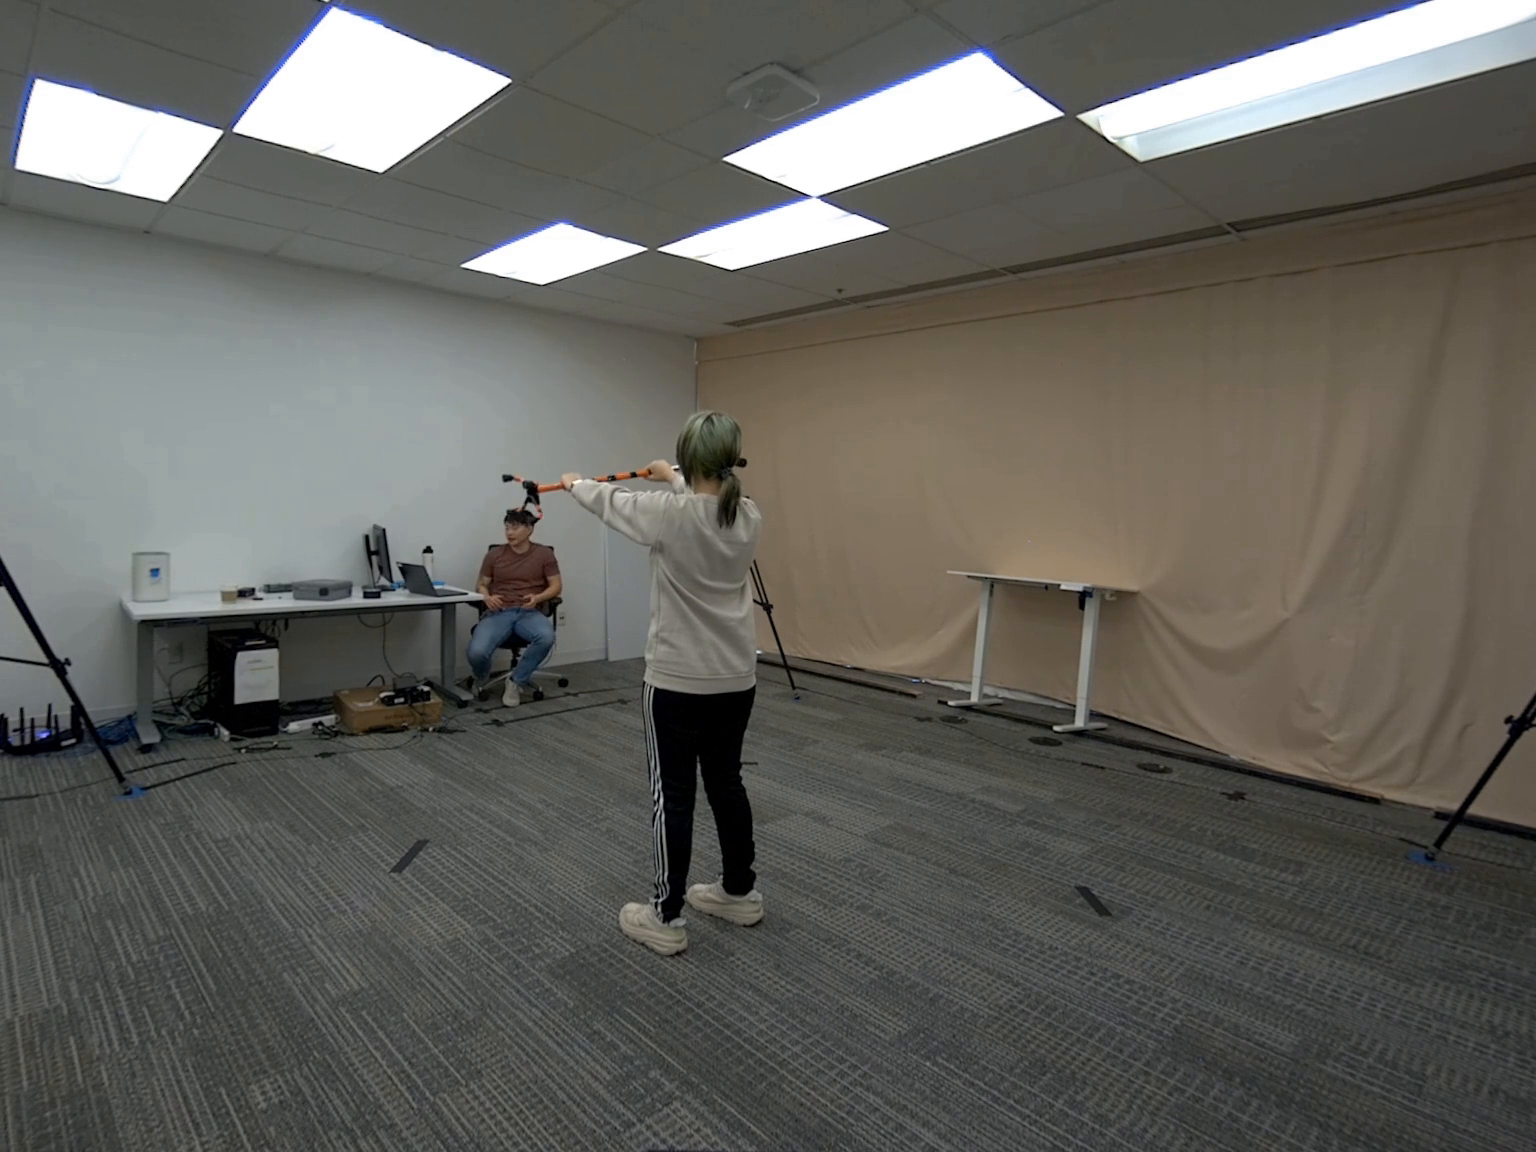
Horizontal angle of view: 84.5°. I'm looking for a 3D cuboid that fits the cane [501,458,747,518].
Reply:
[{"bbox_3d":[-0.496,-0.353,3.085,0.893,0.150,0.212,-15,21,-34],"label":"cane"}]
